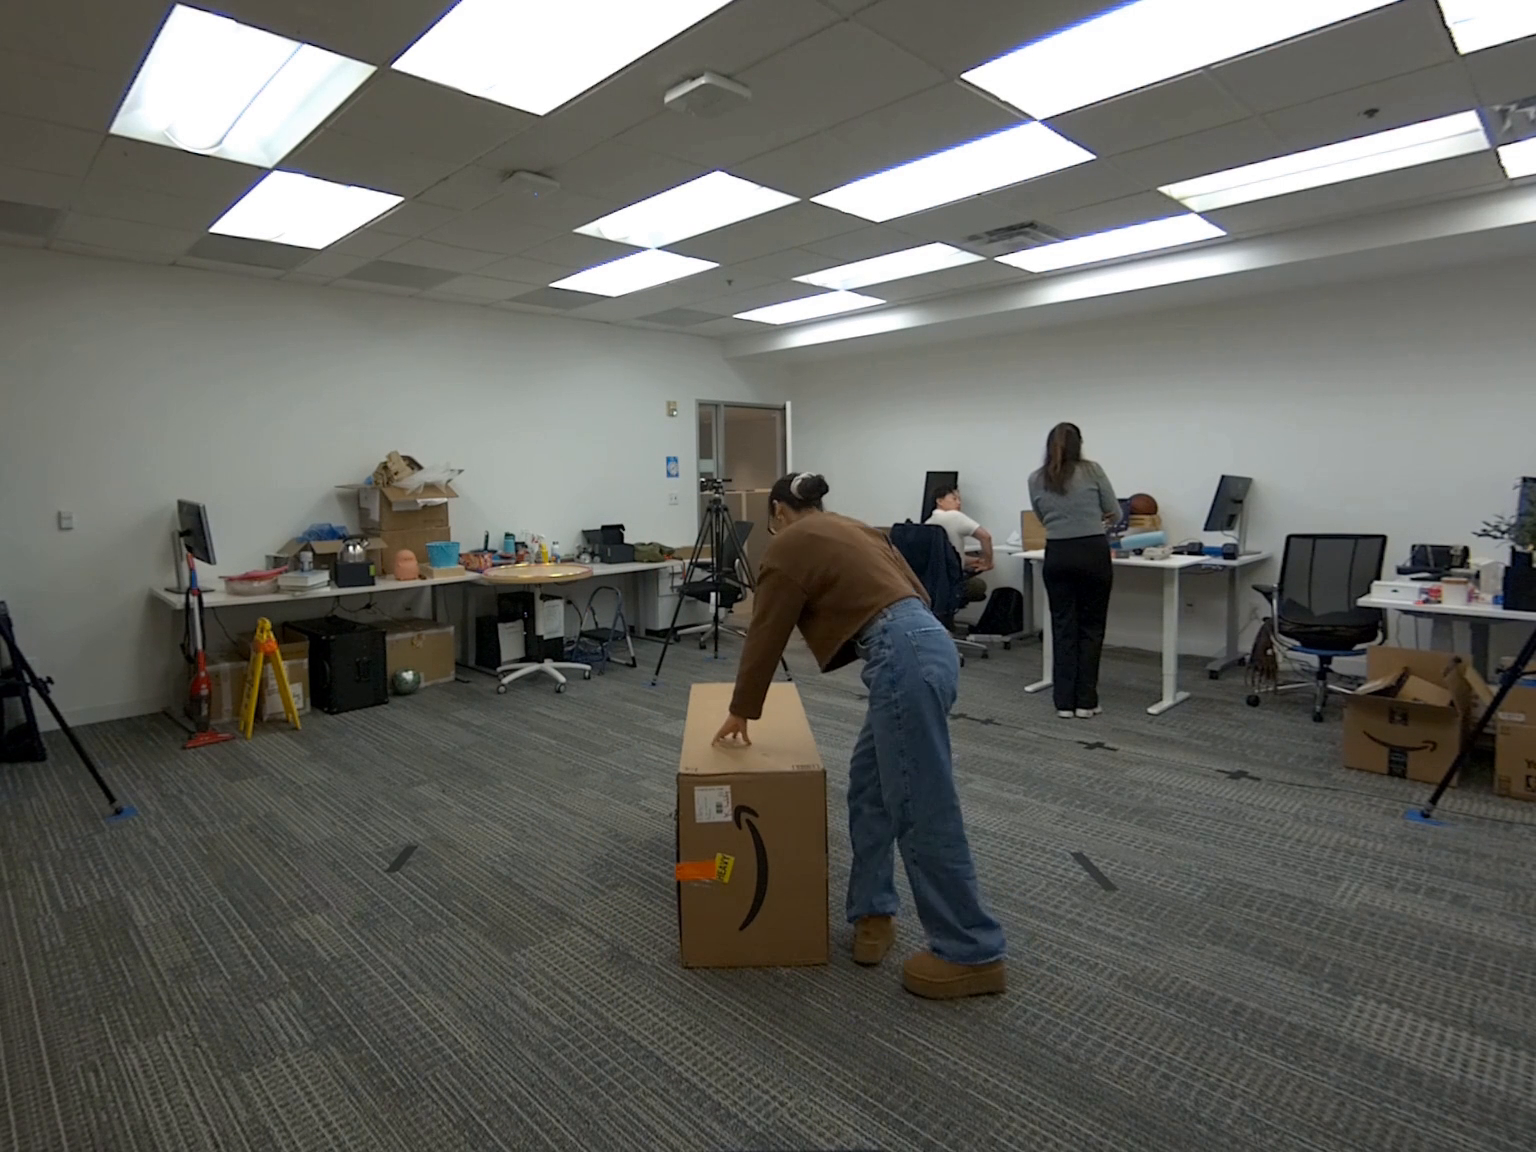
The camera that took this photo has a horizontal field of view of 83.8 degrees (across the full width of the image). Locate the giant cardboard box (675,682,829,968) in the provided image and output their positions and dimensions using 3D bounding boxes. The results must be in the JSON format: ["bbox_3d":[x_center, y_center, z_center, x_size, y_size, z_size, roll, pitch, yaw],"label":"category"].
[{"bbox_3d":[-0.071,0.776,2.942,0.446,0.581,1.032,0,6,-2],"label":"giant cardboard box"}]
